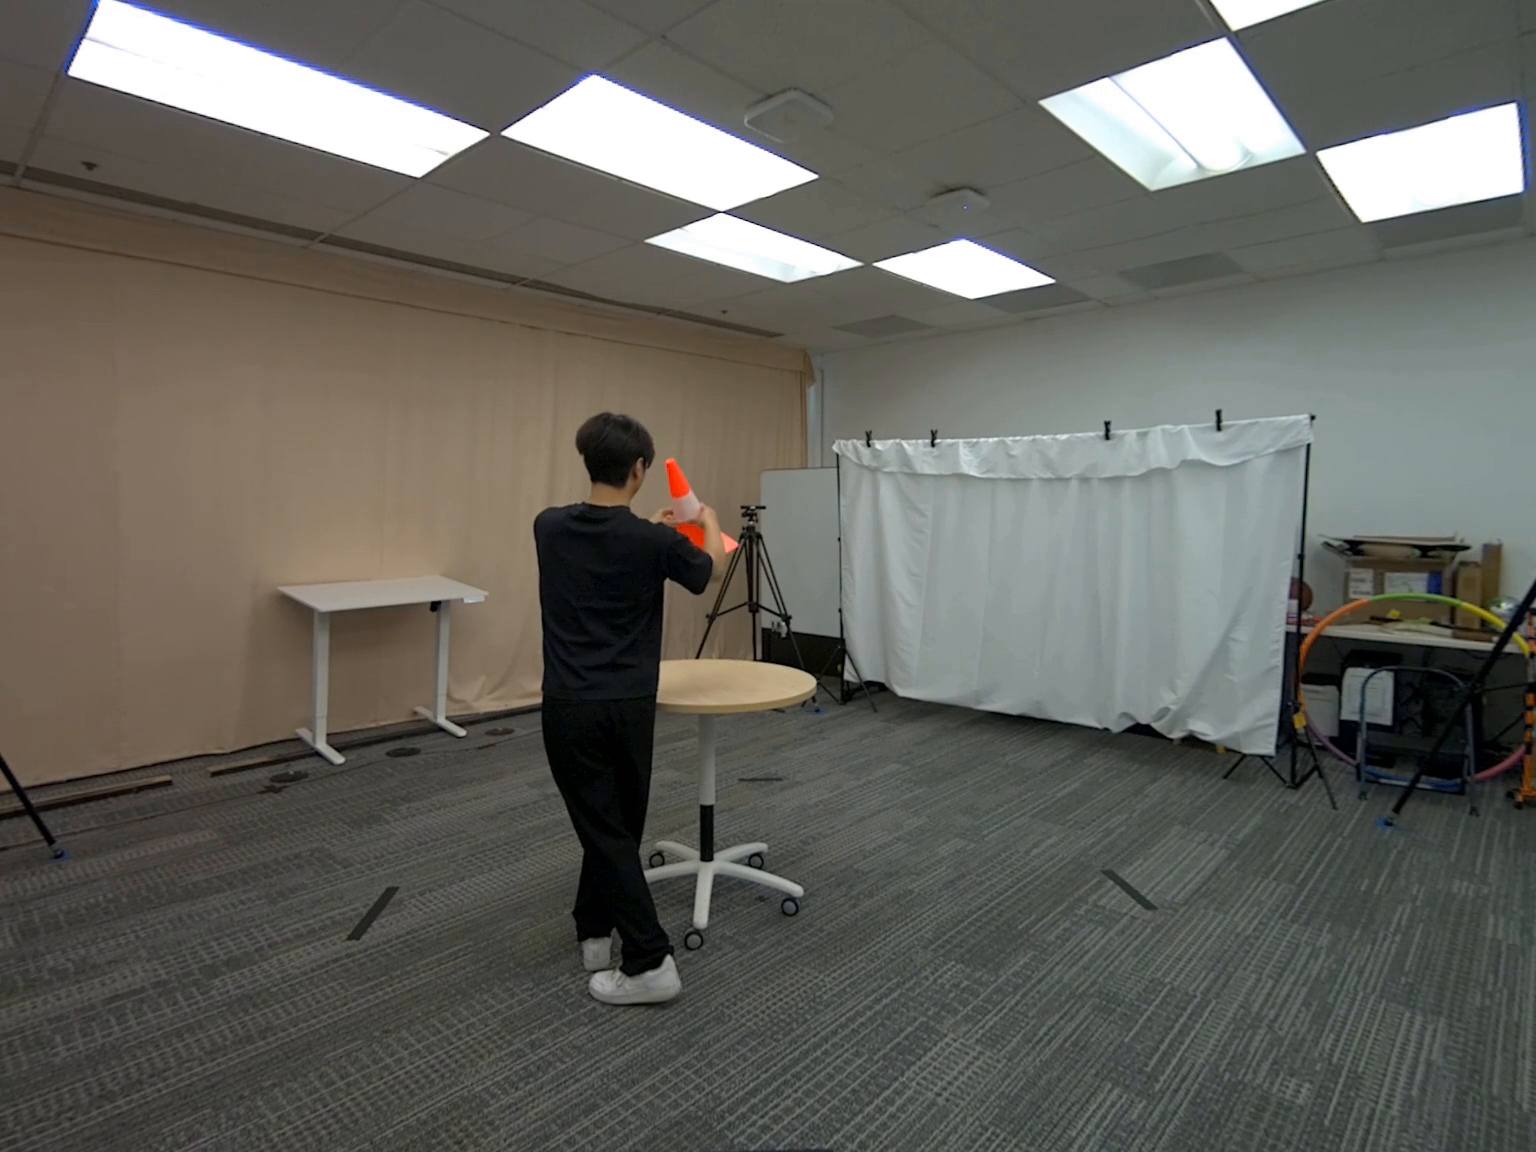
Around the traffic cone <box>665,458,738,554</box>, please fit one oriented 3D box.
[{"bbox_3d":[-0.281,-0.237,2.896,0.201,0.374,0.212,-27,35,-14],"label":"traffic cone"}]
